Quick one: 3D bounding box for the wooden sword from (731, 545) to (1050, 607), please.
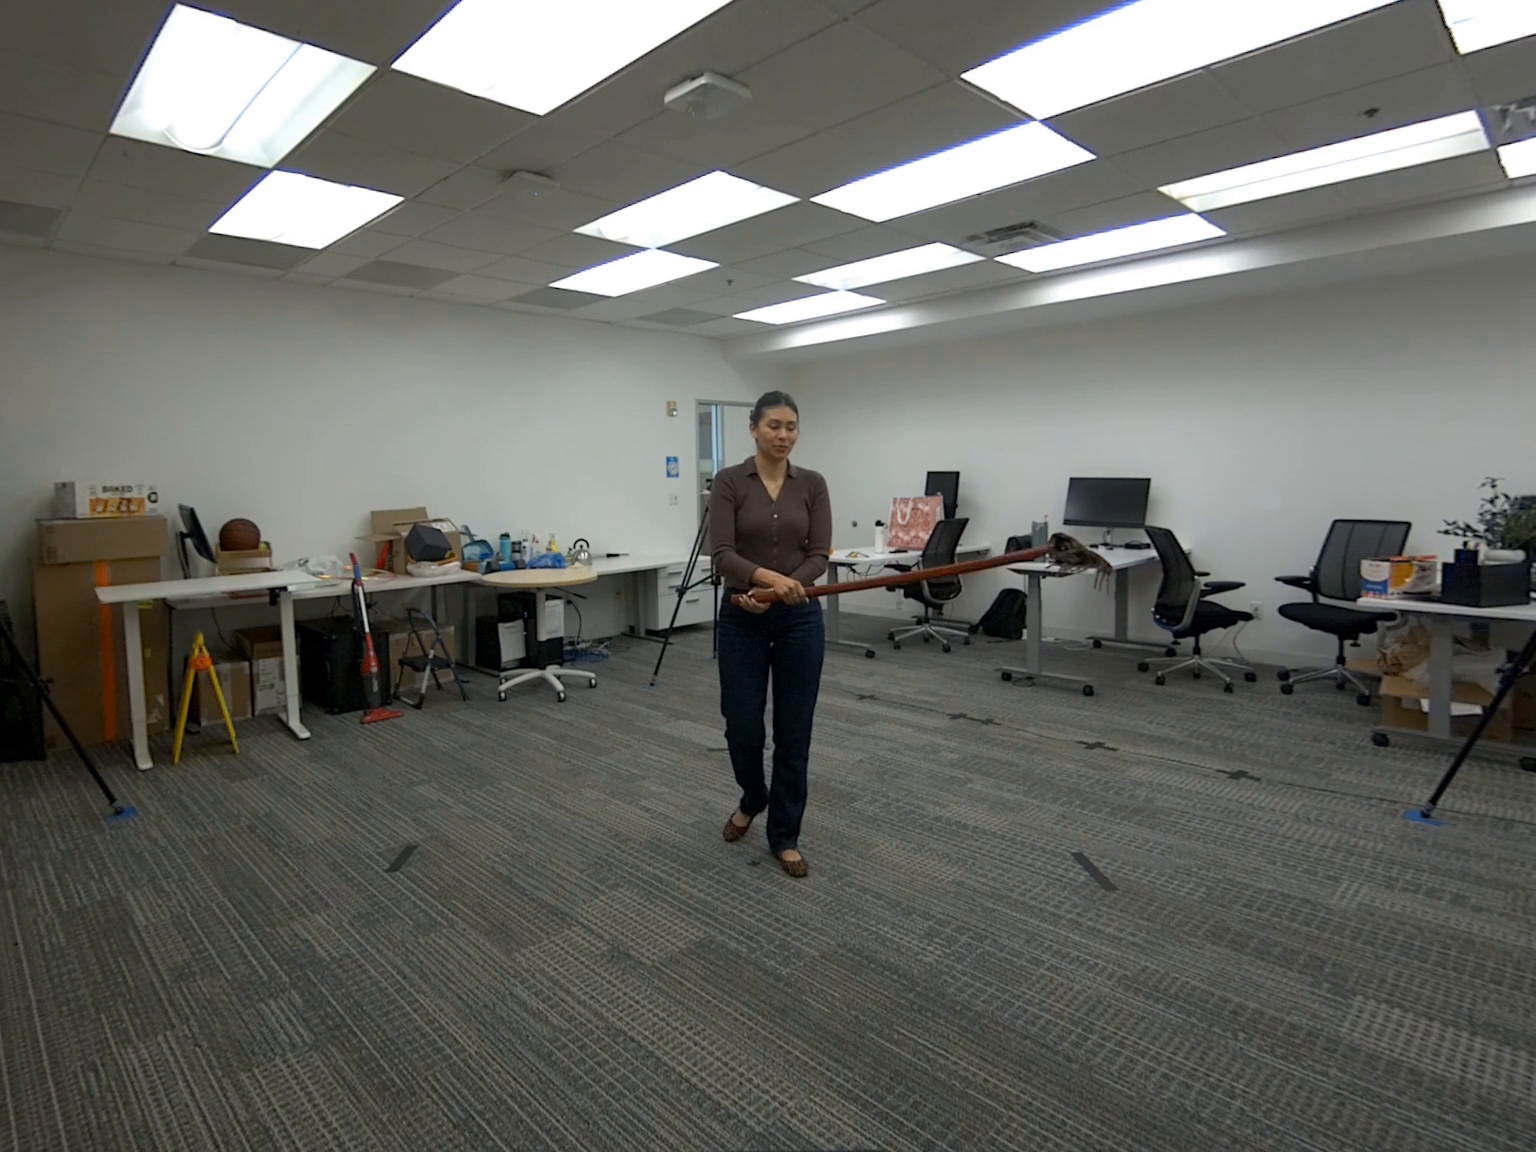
[{"bbox_3d":[0.364,0.019,2.551,1.044,0.050,0.024,-11,24,28],"label":"wooden sword"}]
